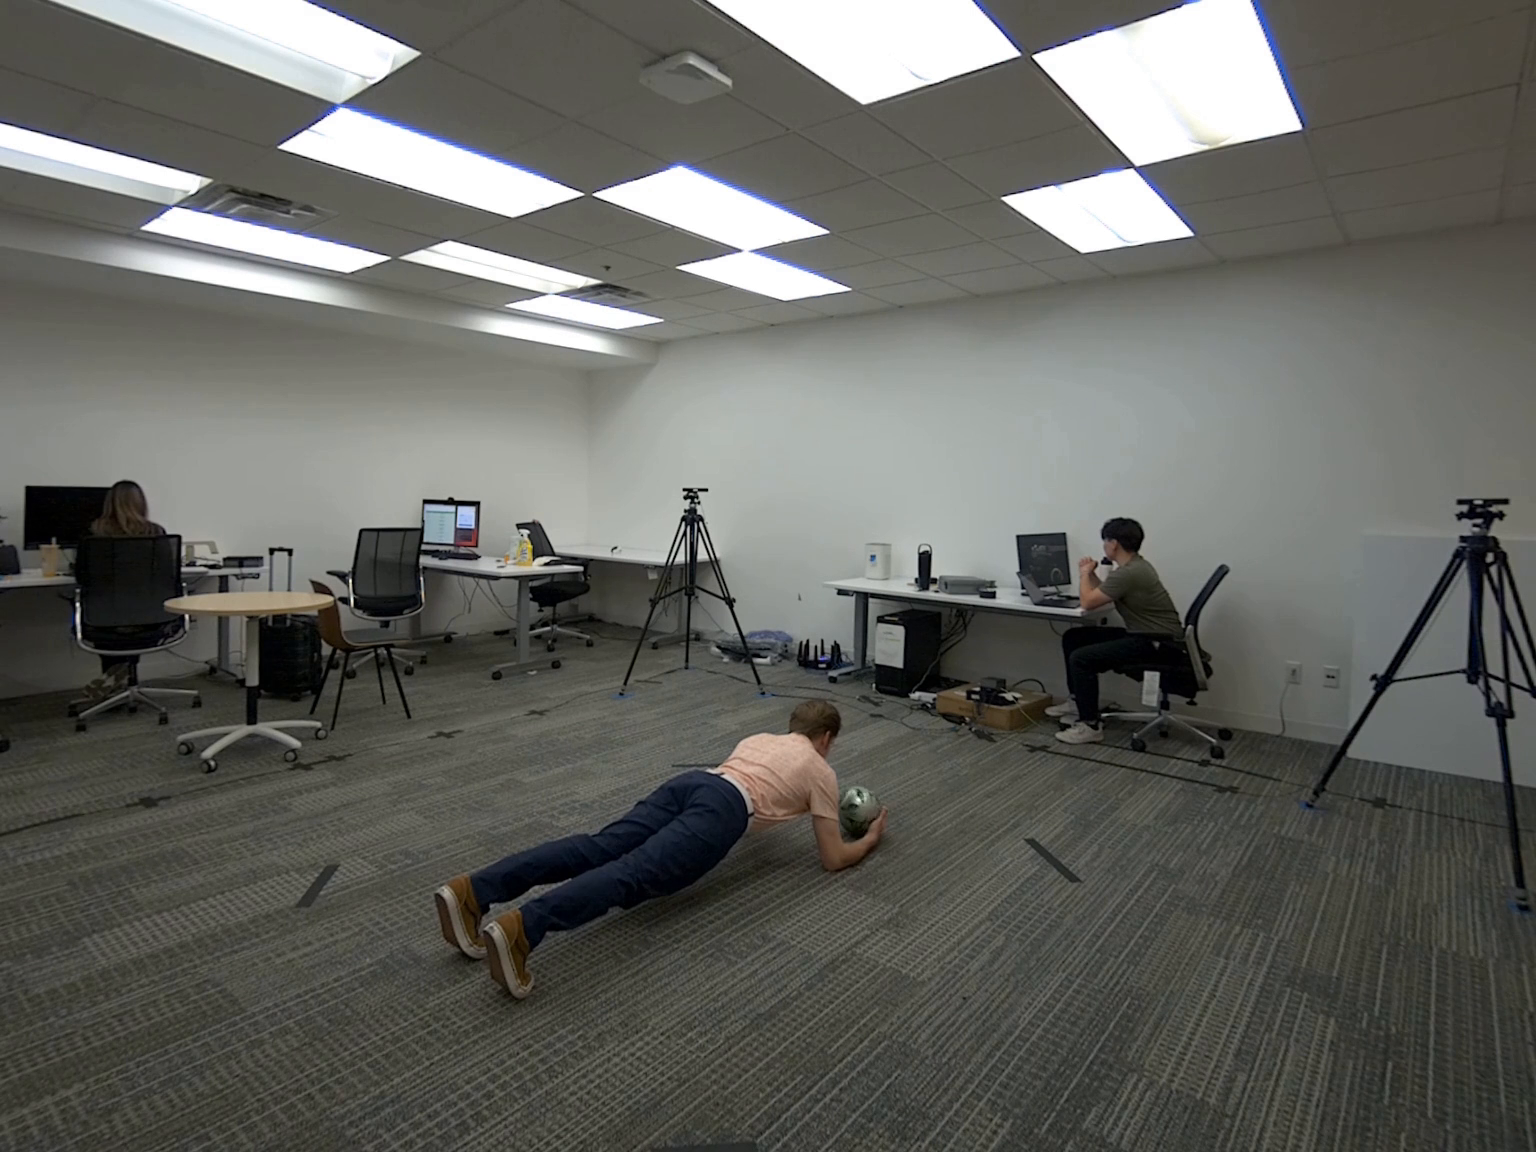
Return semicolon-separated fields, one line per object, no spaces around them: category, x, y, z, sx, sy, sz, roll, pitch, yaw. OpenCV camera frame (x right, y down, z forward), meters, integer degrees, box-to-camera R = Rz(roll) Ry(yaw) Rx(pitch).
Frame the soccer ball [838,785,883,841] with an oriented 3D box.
soccer ball;0.353;0.956;3.470;0.187;0.187;0.188;1;4;-2
